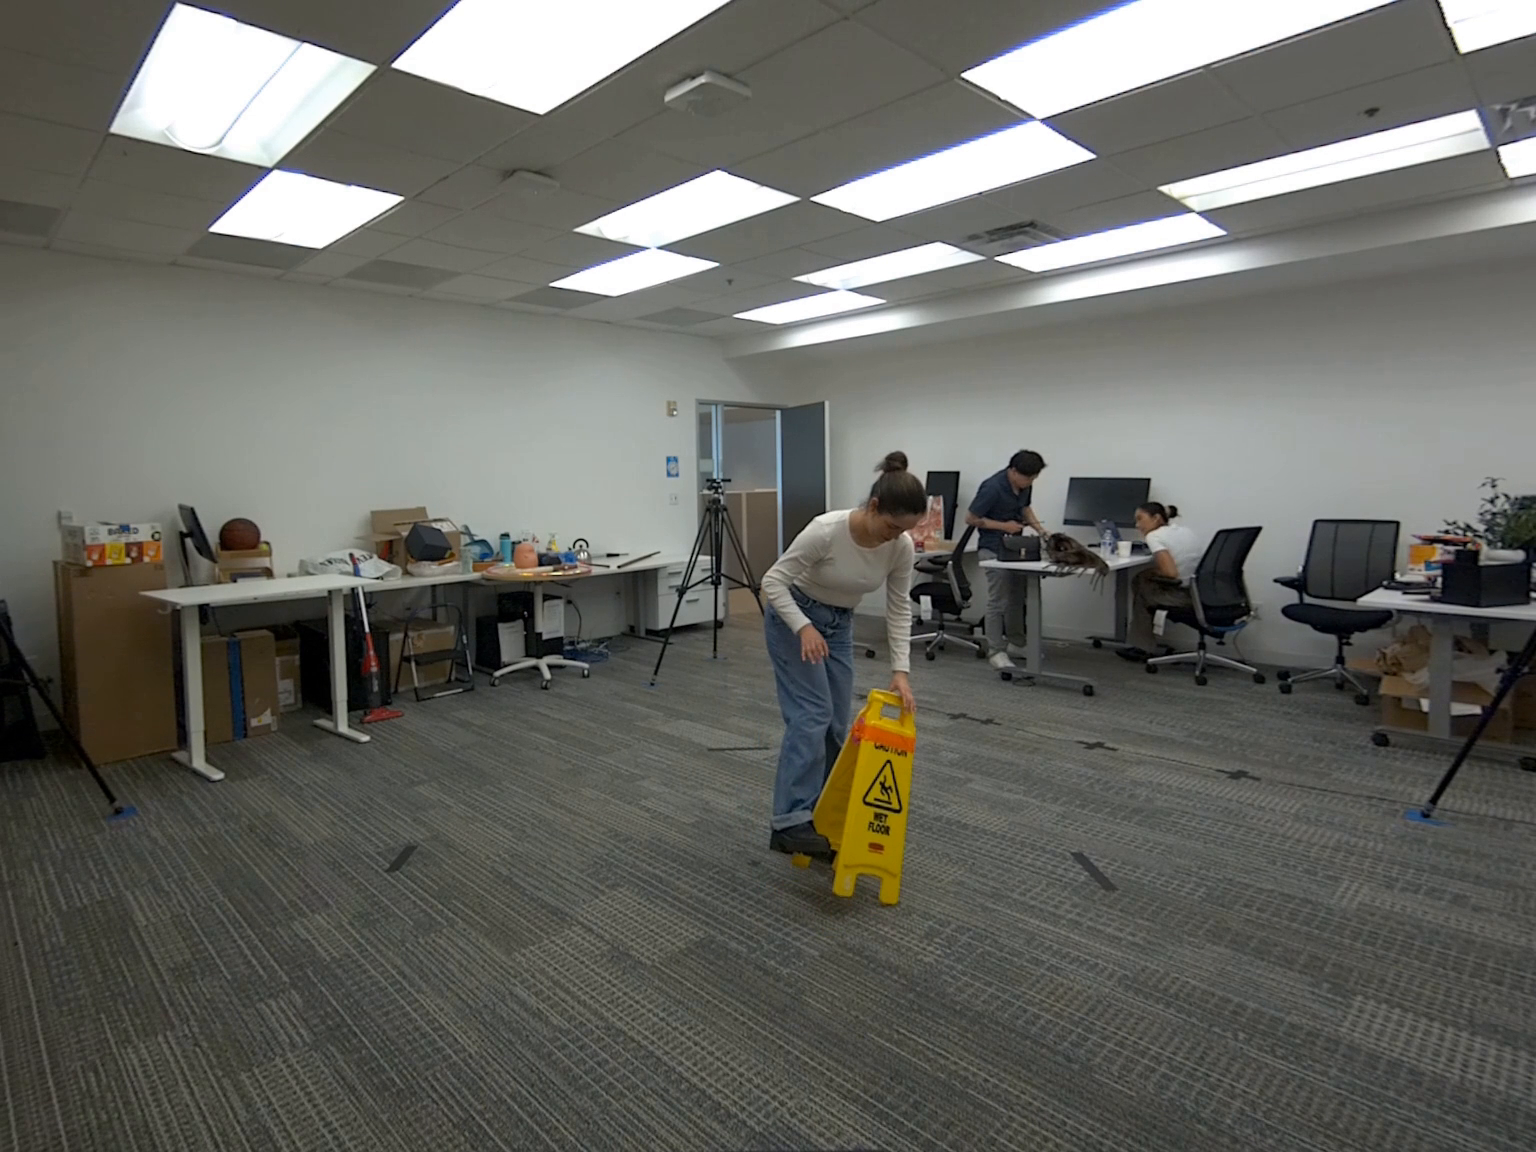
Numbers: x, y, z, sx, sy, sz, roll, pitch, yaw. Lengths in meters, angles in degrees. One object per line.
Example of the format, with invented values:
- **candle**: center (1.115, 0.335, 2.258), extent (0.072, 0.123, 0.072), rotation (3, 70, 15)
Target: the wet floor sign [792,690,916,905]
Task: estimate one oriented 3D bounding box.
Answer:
- **wet floor sign**: center (0.341, 0.713, 2.888), extent (0.273, 0.649, 0.297), rotation (22, -10, -30)
